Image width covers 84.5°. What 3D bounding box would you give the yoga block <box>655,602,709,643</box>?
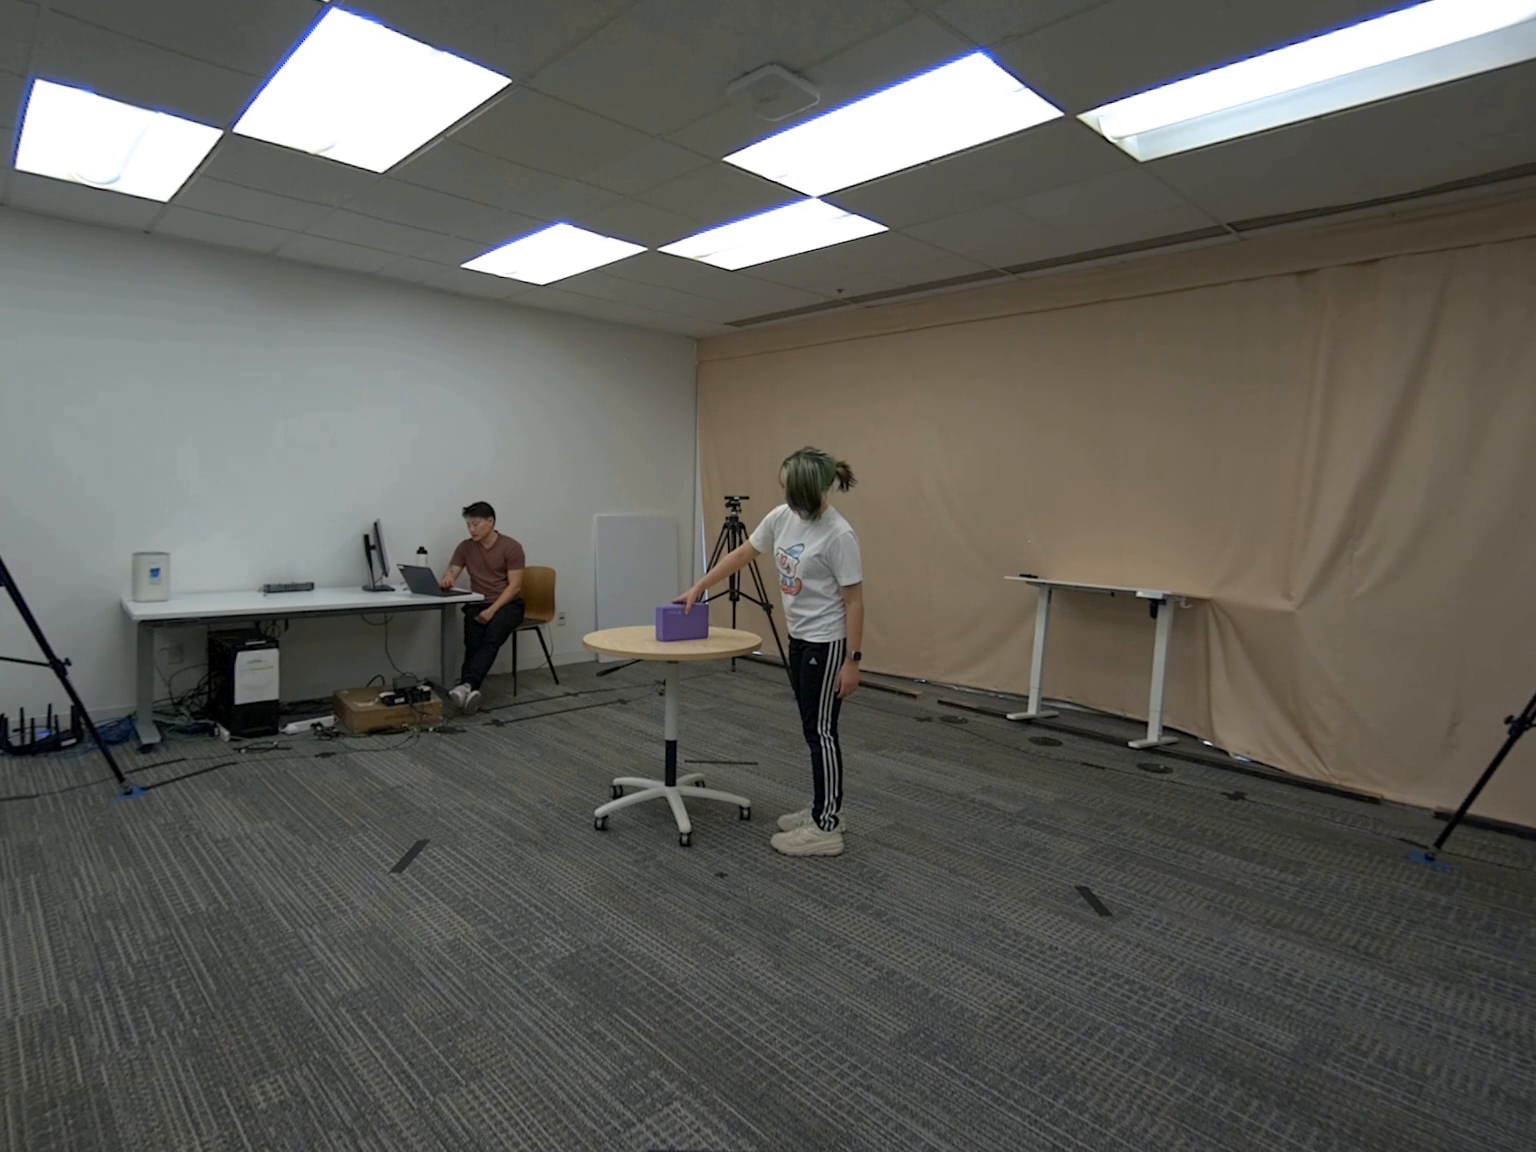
[{"bbox_3d":[-0.369,0.192,3.595,0.224,0.148,0.078,-3,6,-36],"label":"yoga block"}]
